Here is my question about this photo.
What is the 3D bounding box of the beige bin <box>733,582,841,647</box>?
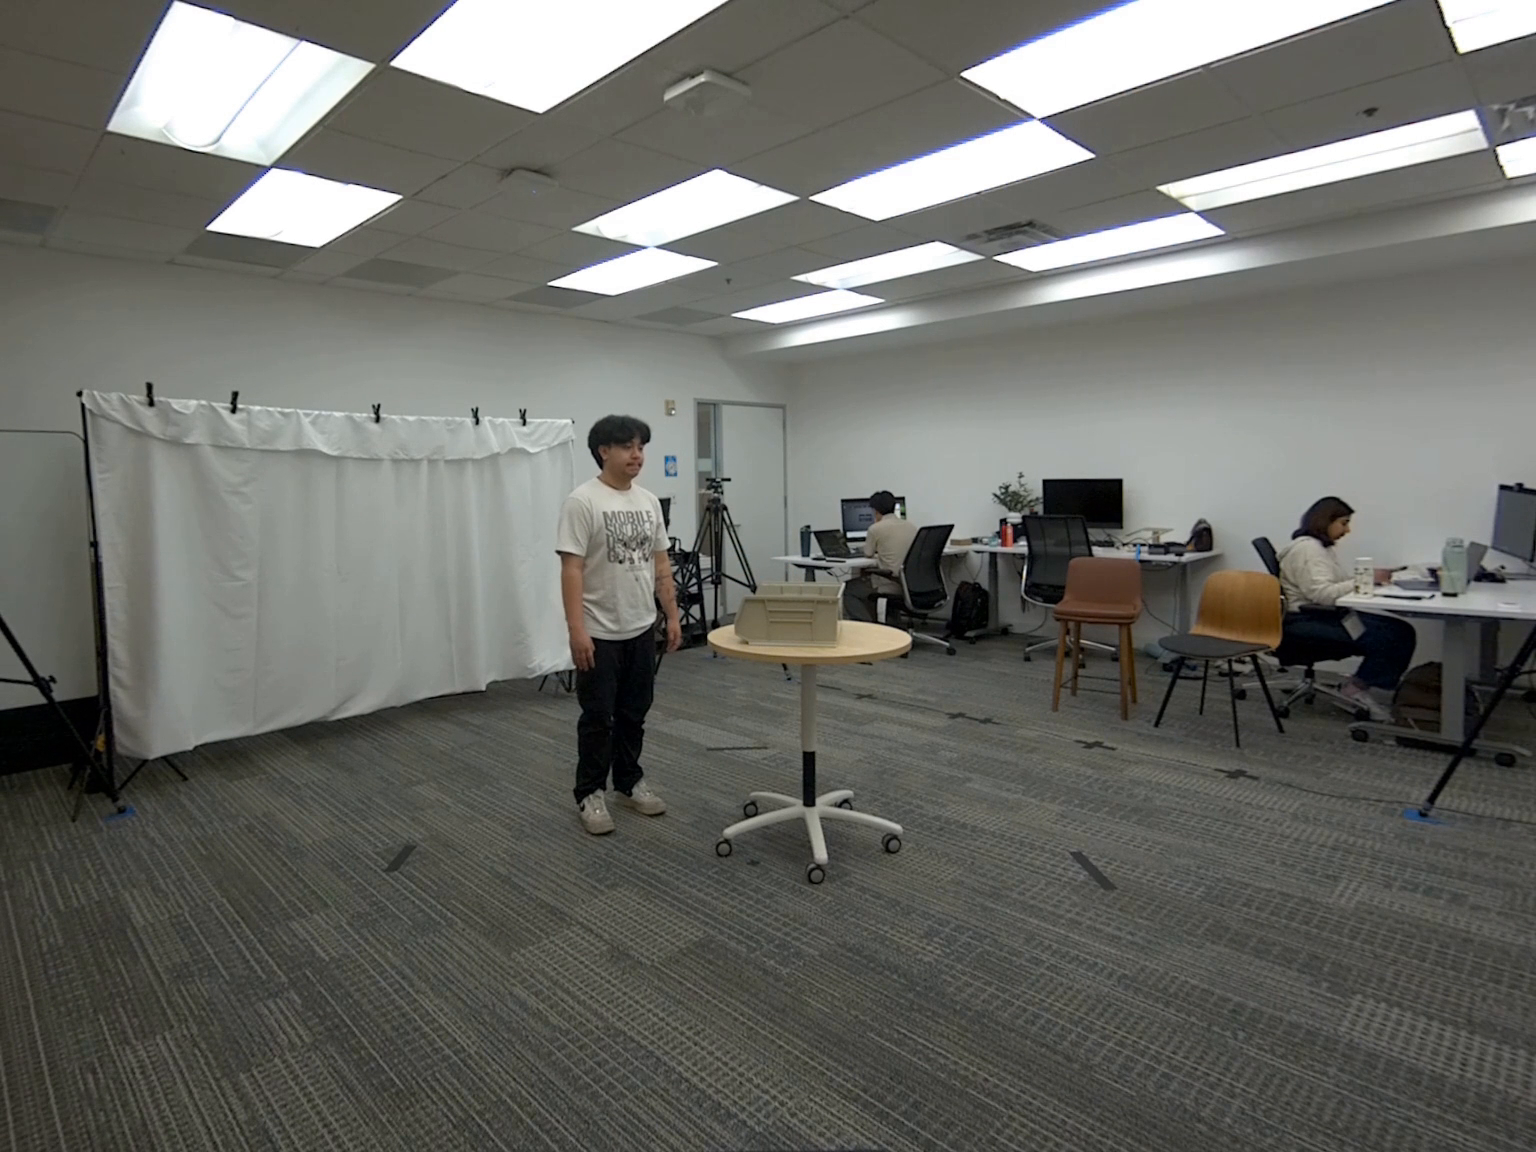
[{"bbox_3d":[0.085,0.136,3.226,0.381,0.188,0.421,1,8,8],"label":"beige bin"}]
